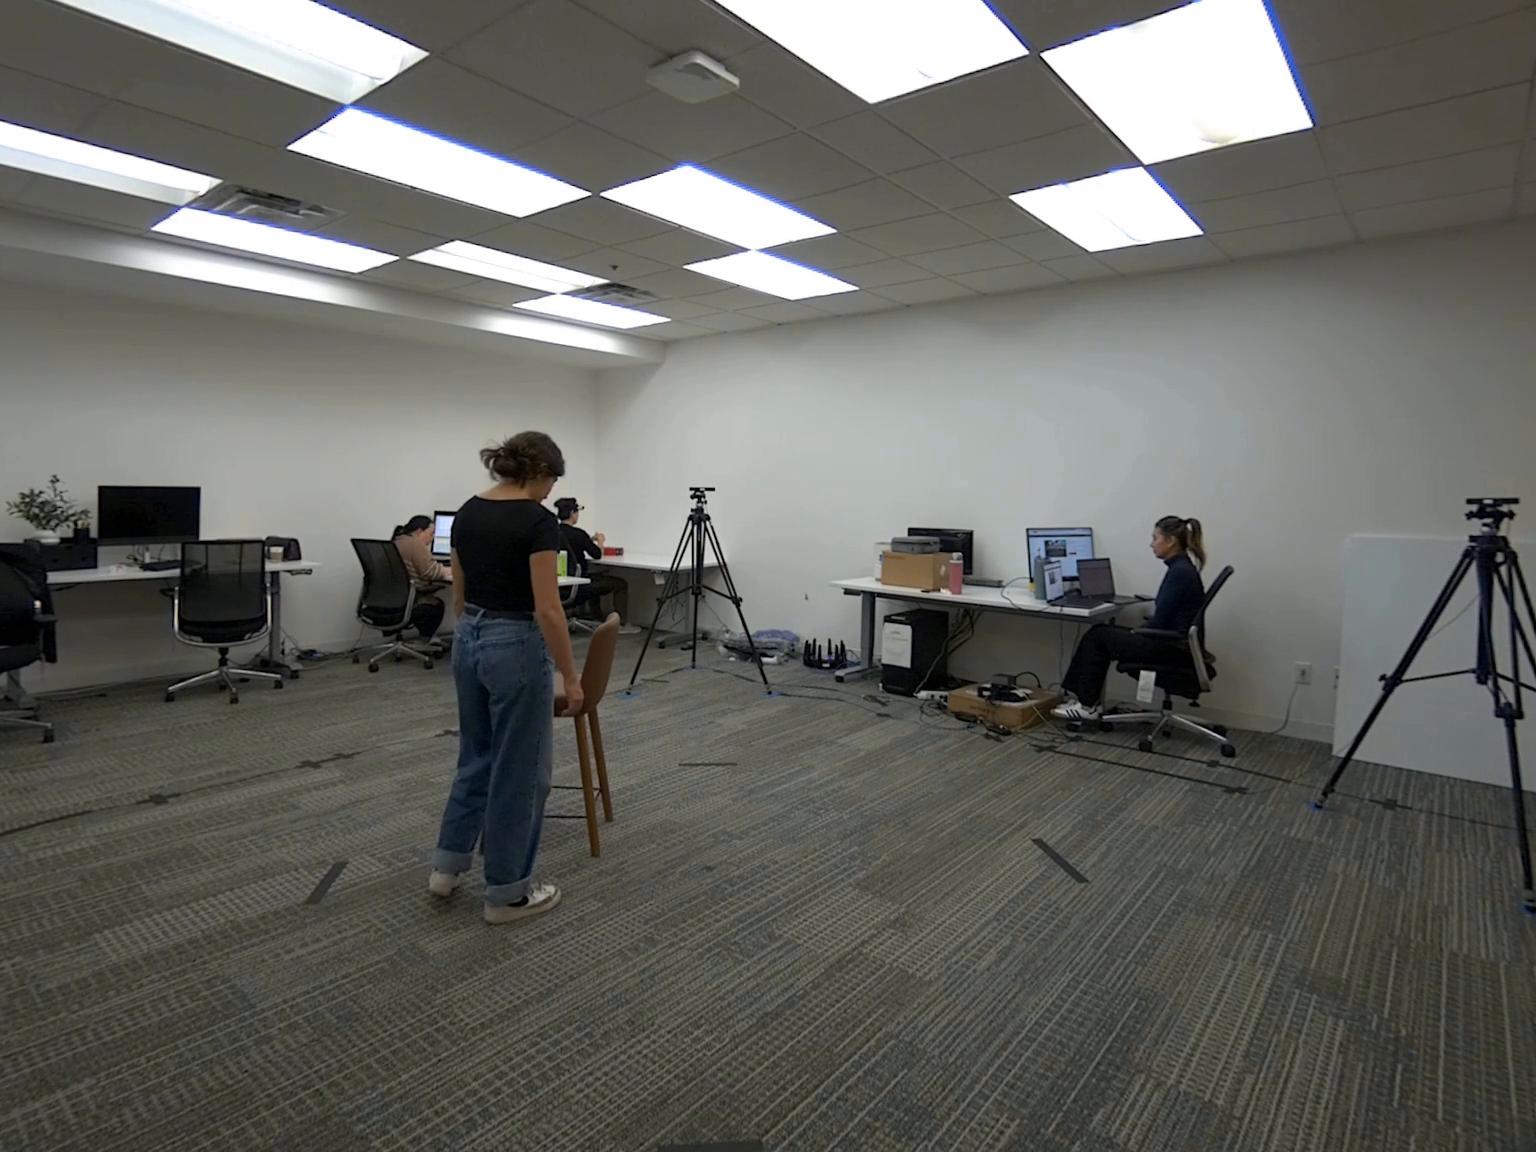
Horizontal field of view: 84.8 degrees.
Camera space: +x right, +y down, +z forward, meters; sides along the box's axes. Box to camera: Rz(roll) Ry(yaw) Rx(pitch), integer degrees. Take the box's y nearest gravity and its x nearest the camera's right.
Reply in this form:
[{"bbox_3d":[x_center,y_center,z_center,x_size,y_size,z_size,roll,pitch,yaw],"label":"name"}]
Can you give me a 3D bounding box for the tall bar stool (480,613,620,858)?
[{"bbox_3d":[-0.862,0.597,3.364,0.469,0.888,0.457,3,3,1],"label":"tall bar stool"}]
